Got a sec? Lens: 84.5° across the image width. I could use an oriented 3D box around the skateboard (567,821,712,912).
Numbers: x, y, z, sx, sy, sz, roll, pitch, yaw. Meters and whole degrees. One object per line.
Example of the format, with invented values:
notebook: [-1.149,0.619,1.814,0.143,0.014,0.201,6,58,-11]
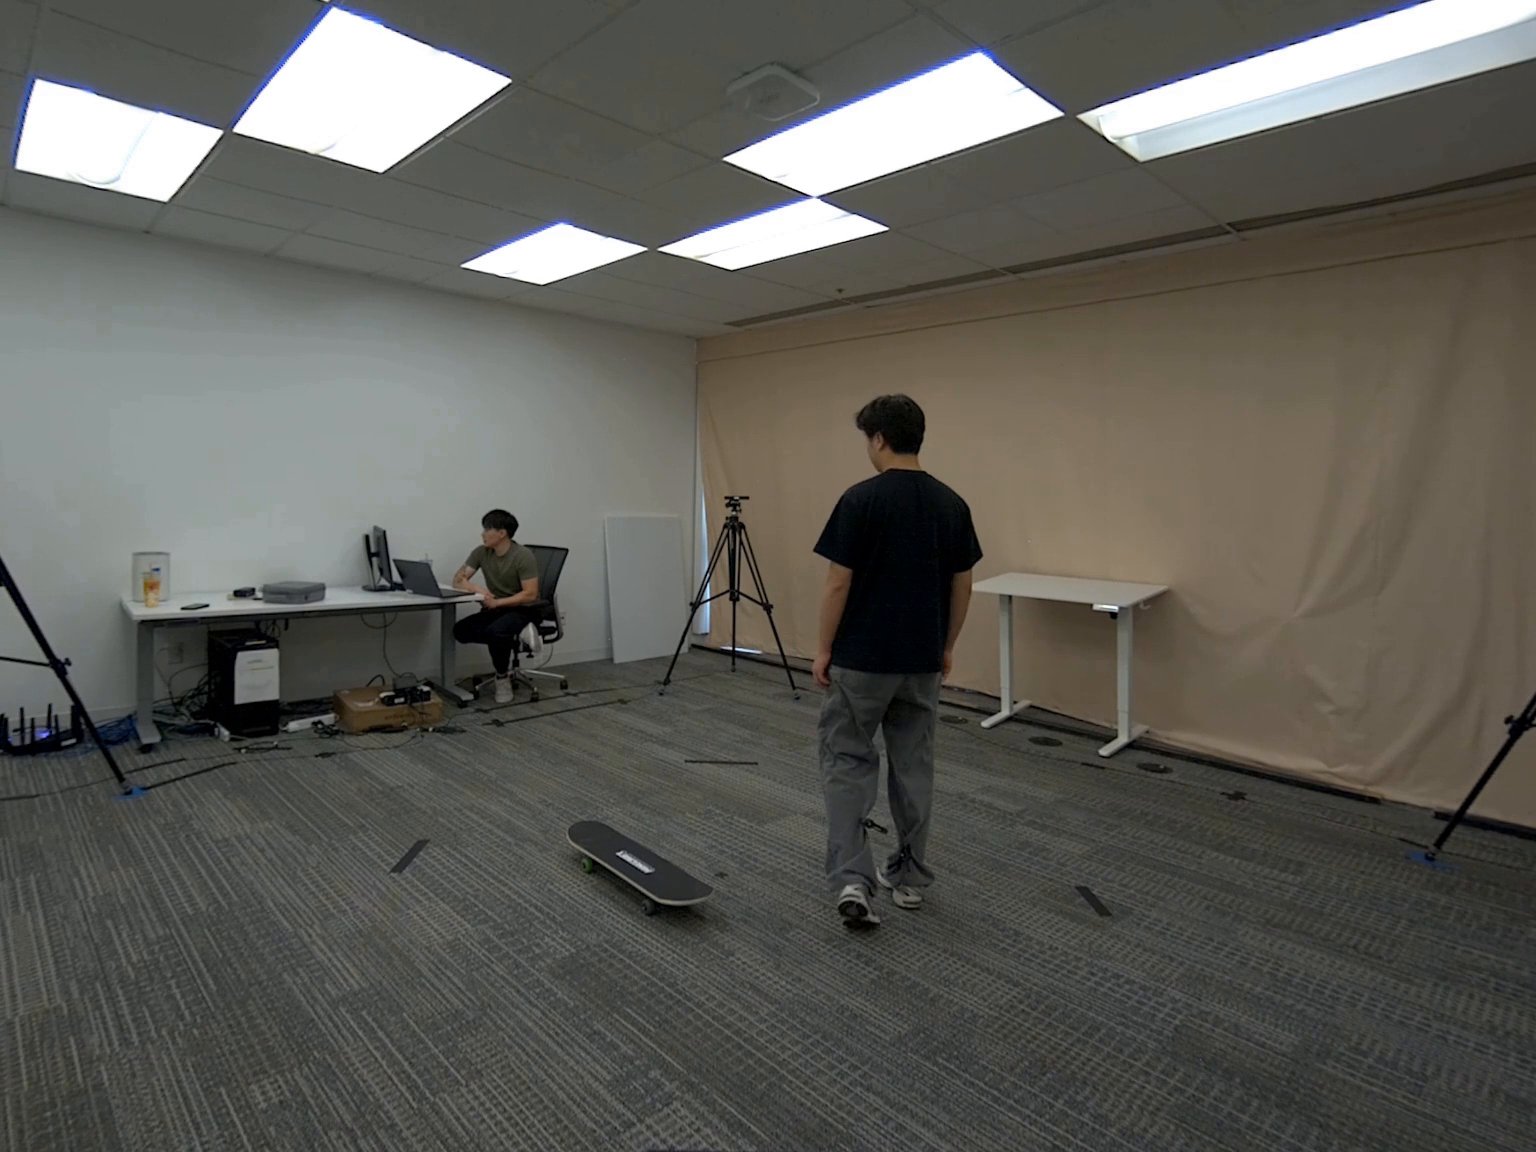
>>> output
skateboard: [-0.479,1.049,3.005,0.189,0.110,0.806,-2,6,-42]
